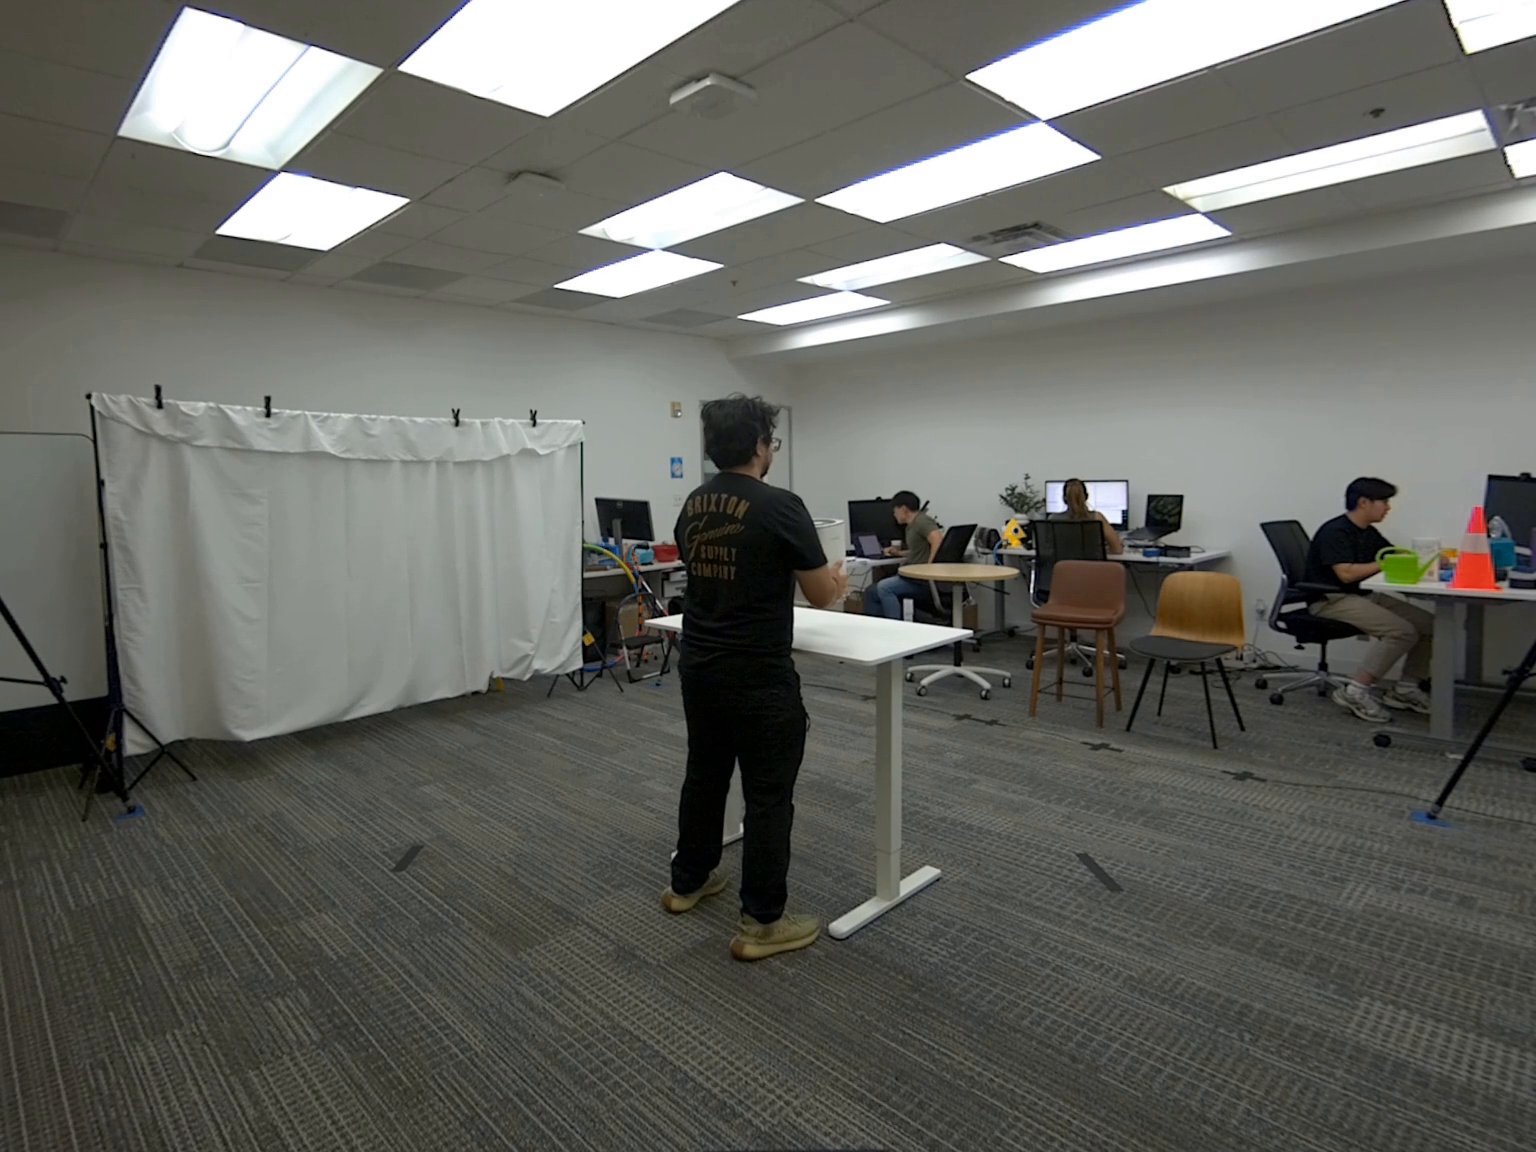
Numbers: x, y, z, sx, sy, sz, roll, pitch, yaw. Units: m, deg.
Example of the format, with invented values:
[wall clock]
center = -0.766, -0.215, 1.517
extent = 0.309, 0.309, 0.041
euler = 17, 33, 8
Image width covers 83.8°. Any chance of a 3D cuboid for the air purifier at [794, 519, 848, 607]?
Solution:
[air purifier]
center = 0.166, -0.048, 2.843
extent = 0.177, 0.263, 0.167
euler = 6, 13, 42
